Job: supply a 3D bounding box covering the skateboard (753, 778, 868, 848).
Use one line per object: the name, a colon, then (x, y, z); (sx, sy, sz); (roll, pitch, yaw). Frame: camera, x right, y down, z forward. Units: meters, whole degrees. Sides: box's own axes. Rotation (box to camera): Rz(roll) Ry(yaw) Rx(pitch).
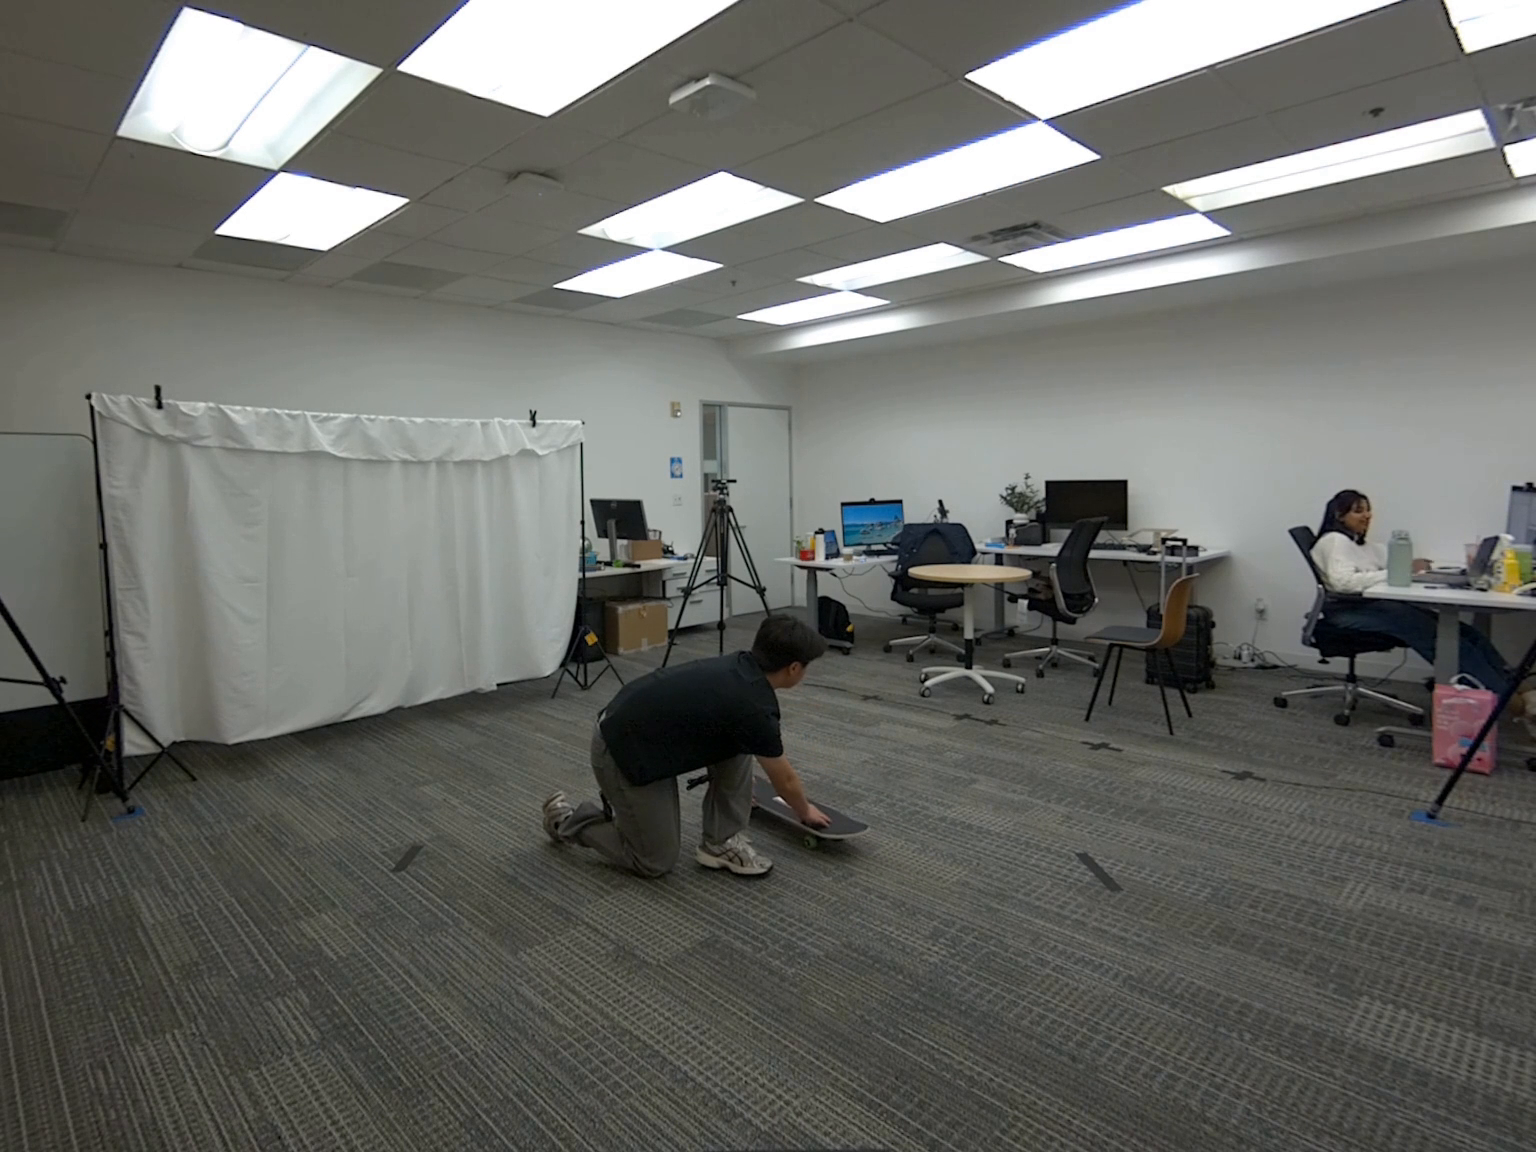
skateboard: (0.105, 0.949, 3.420); (0.188, 0.110, 0.809); (-4, 6, -35)
